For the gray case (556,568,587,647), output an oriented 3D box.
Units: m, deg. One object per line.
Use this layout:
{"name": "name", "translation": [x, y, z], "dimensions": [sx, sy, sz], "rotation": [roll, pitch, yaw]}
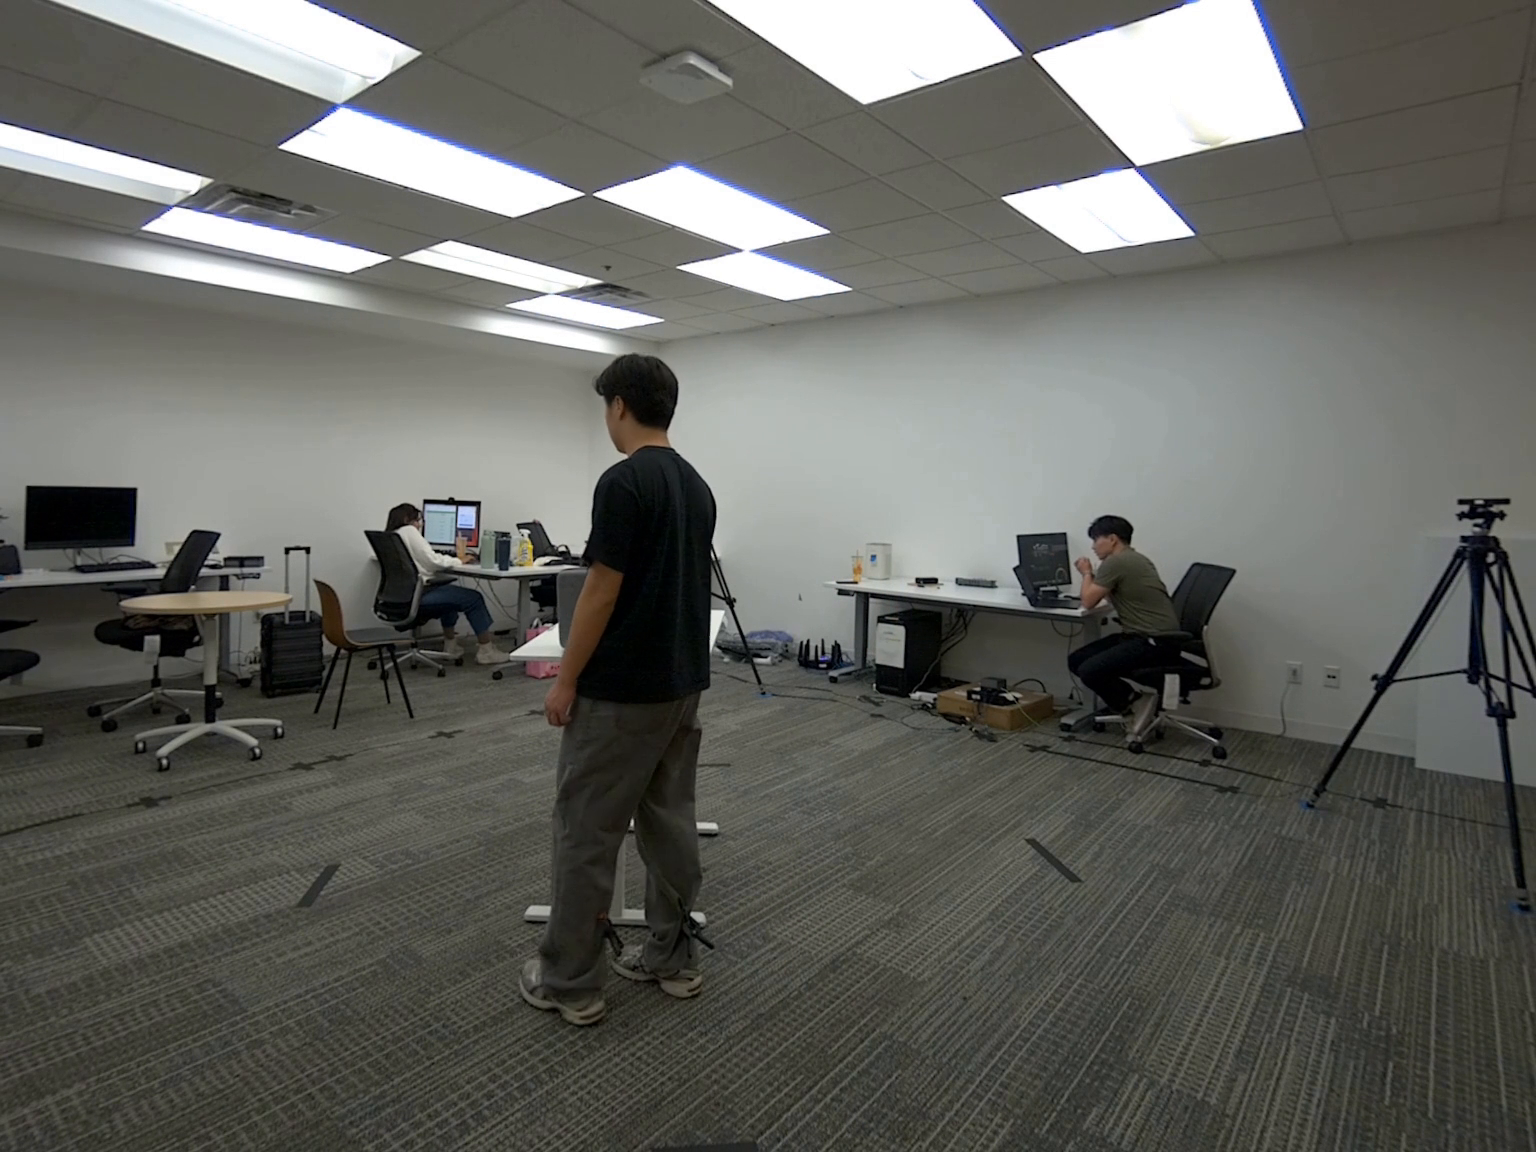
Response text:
{"name": "gray case", "translation": [-0.536, 0.085, 2.648], "dimensions": [0.266, 0.287, 0.102], "rotation": [-1, 1, 12]}
